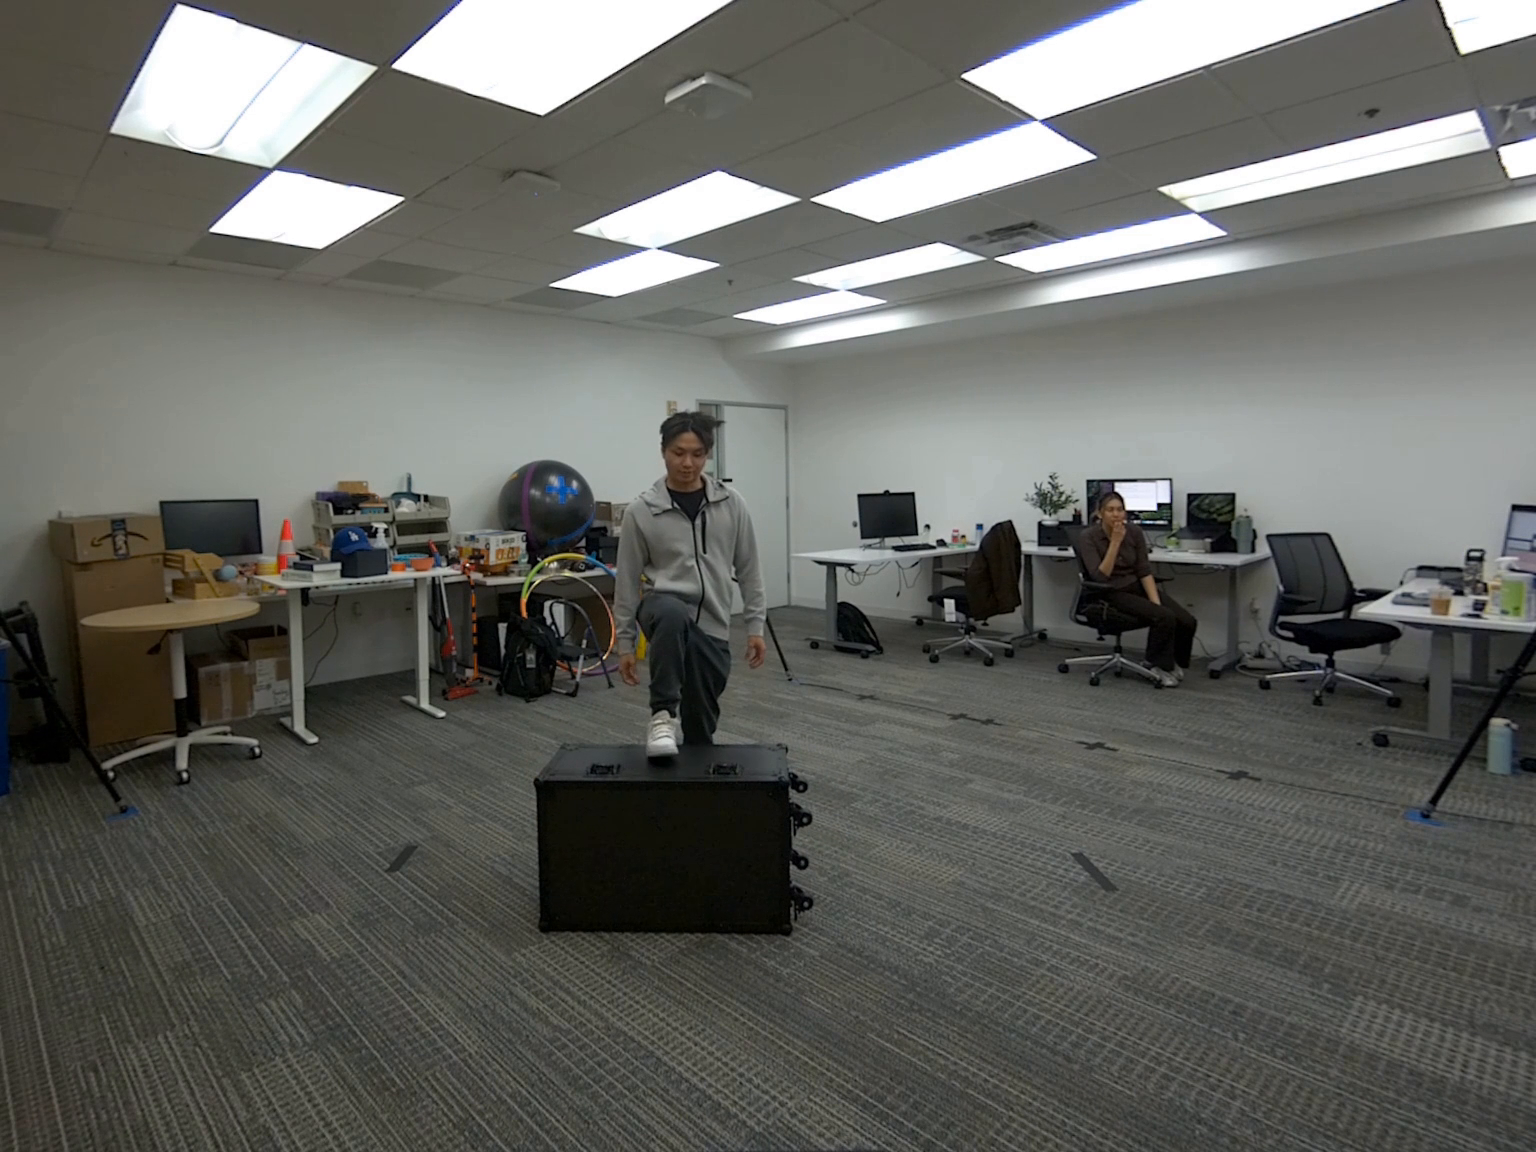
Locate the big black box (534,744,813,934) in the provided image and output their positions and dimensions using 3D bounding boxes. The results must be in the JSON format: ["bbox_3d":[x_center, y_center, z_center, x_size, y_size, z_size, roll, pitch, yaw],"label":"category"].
[{"bbox_3d":[-0.290,0.844,2.806,0.864,0.519,0.396,-1,4,3],"label":"big black box"}]
